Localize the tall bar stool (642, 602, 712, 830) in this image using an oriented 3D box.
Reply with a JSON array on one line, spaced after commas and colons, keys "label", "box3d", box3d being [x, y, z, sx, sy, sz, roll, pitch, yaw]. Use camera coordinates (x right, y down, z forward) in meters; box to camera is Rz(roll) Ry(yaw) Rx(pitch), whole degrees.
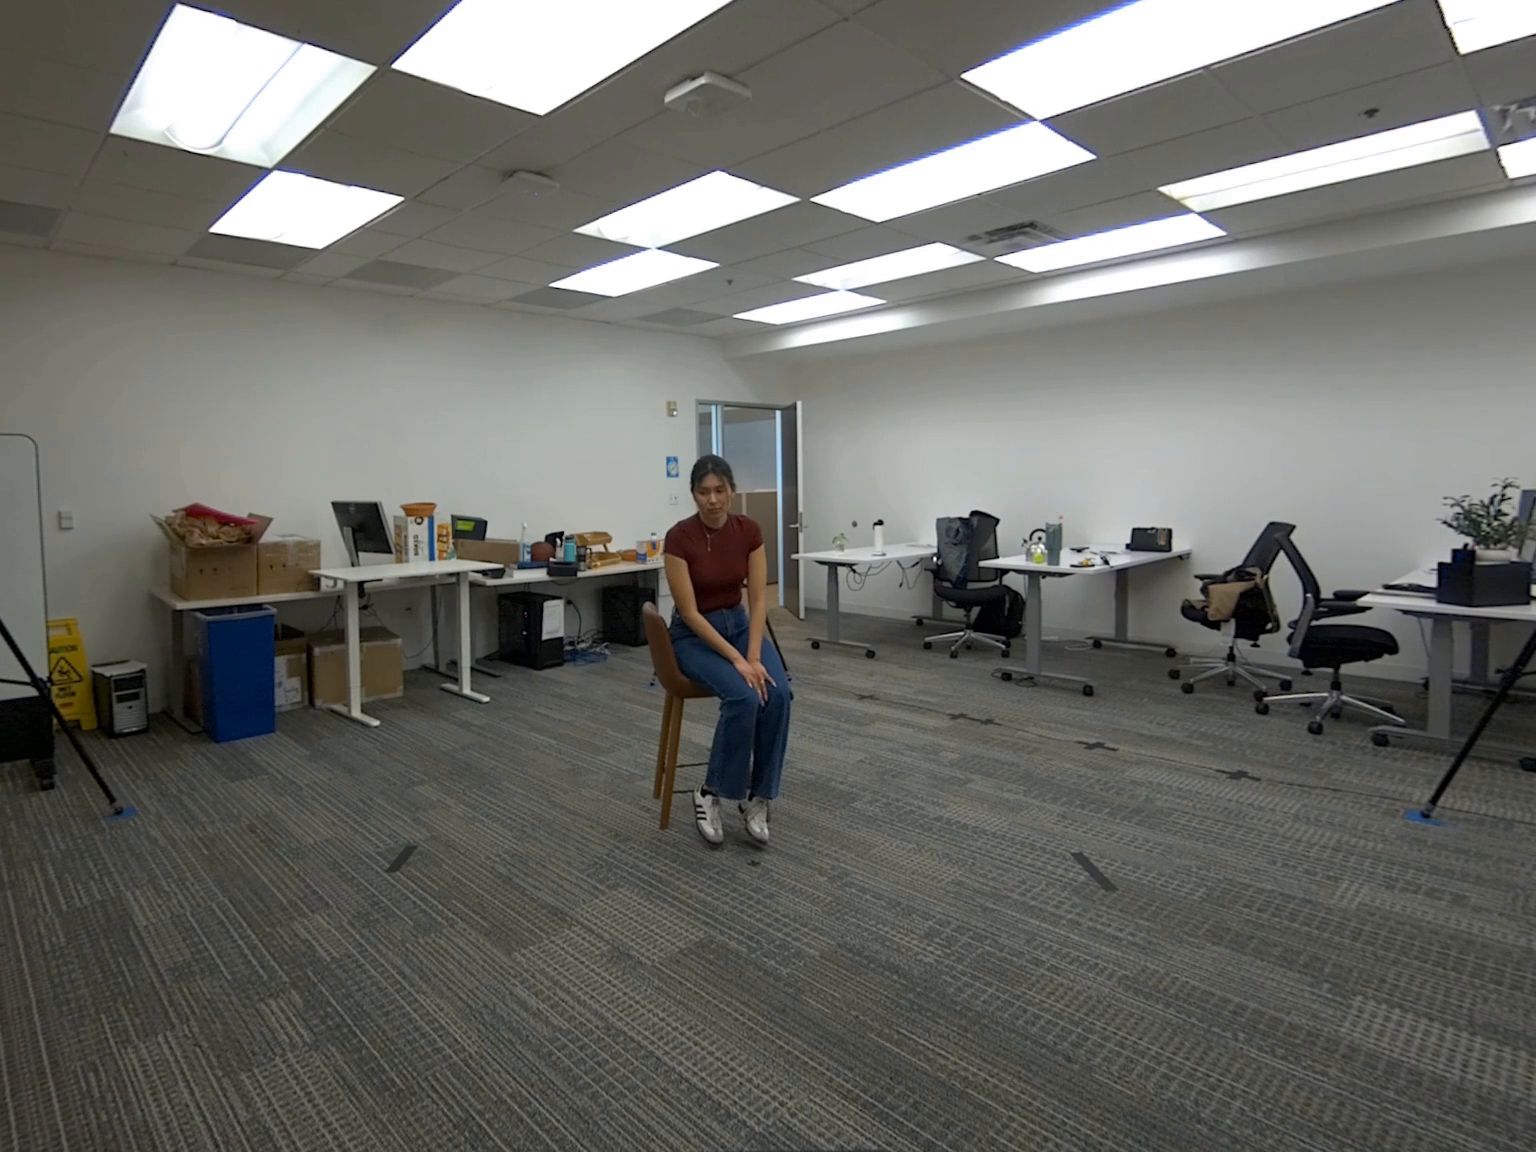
[{"label": "tall bar stool", "box3d": [-0.272, 0.559, 3.626, 0.463, 0.887, 0.463, -3, 4, -12]}]
